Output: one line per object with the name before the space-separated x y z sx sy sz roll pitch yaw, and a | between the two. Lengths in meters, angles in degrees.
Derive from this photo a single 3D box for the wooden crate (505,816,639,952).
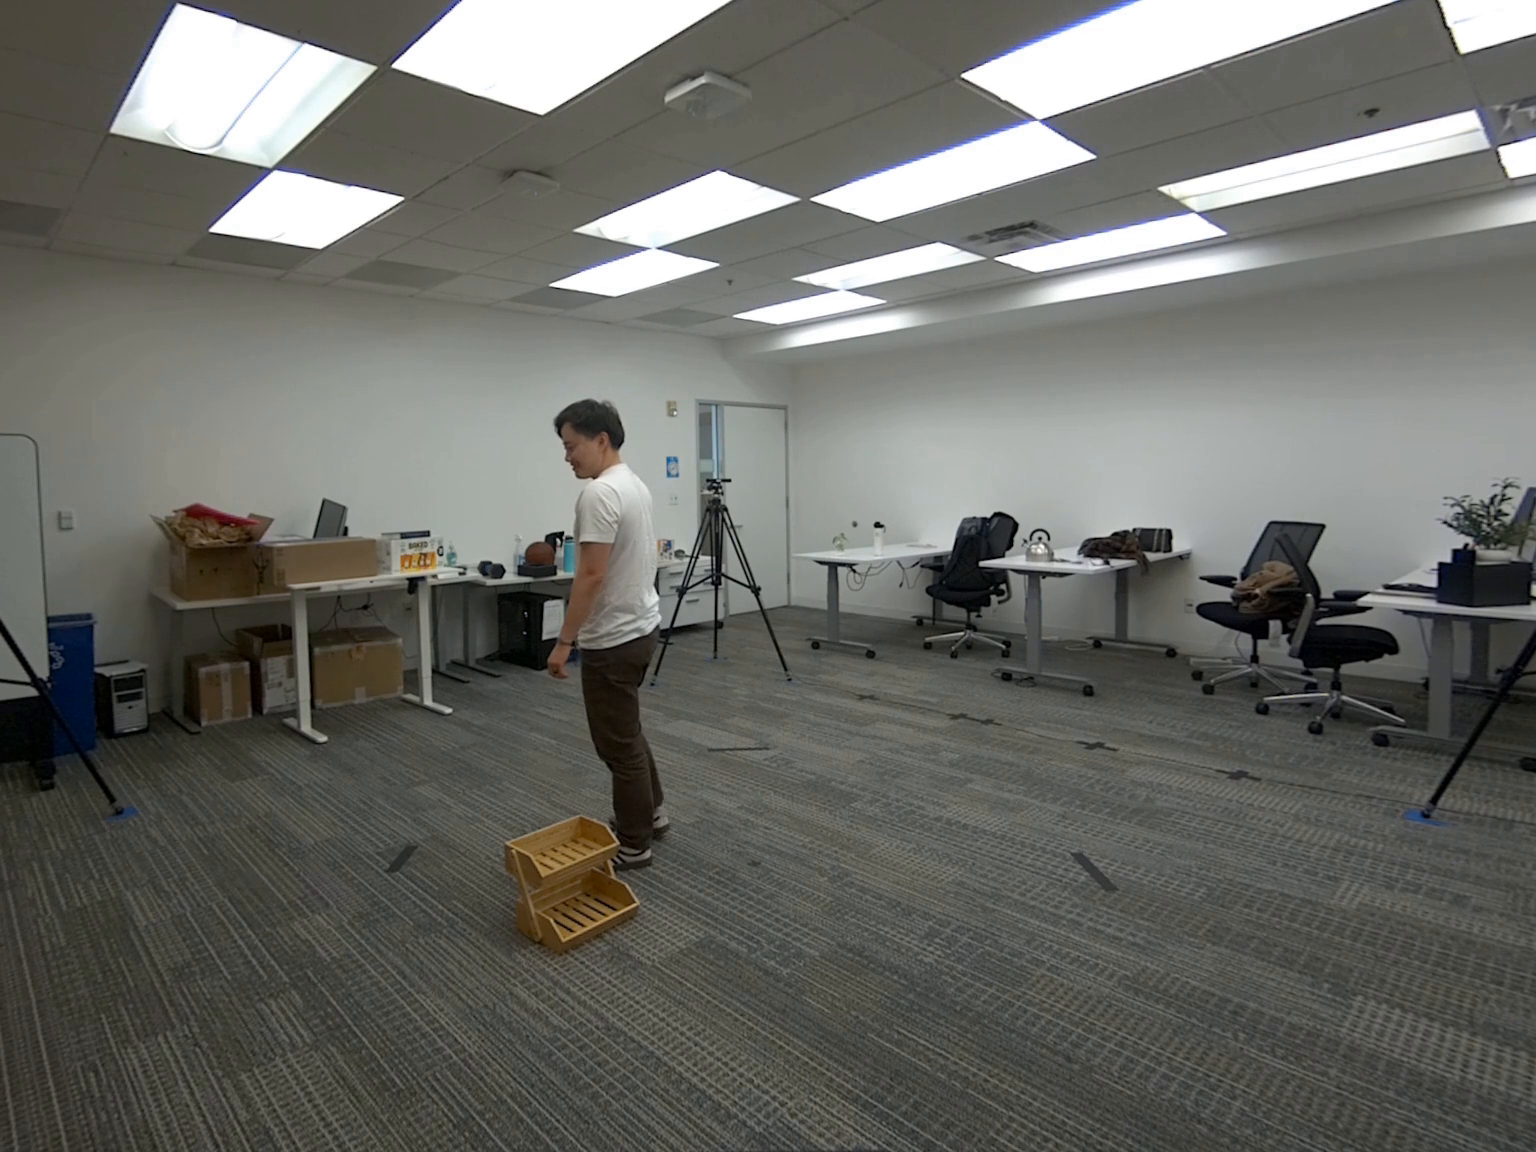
wooden crate | -0.622 0.968 2.720 0.311 0.272 0.316 3 6 42
